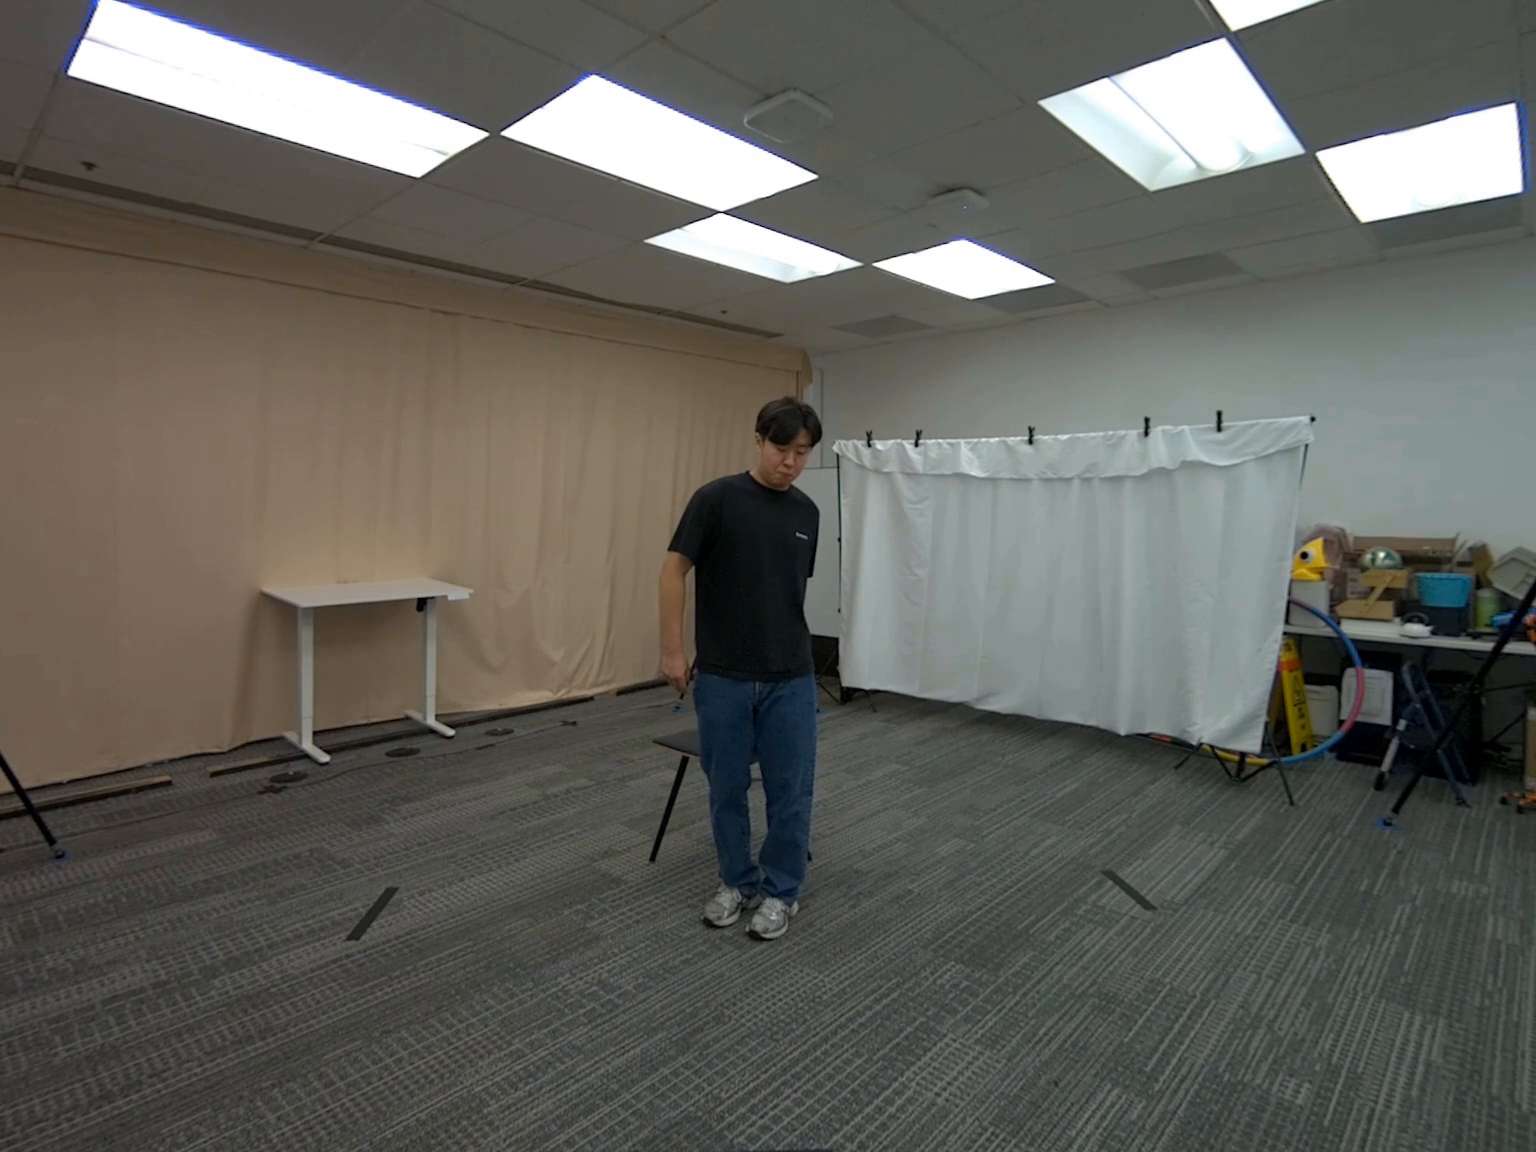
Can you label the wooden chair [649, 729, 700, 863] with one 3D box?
[{"bbox_3d":[-0.154,0.690,3.276,0.541,0.874,0.463,9,9,42],"label":"wooden chair"}]
